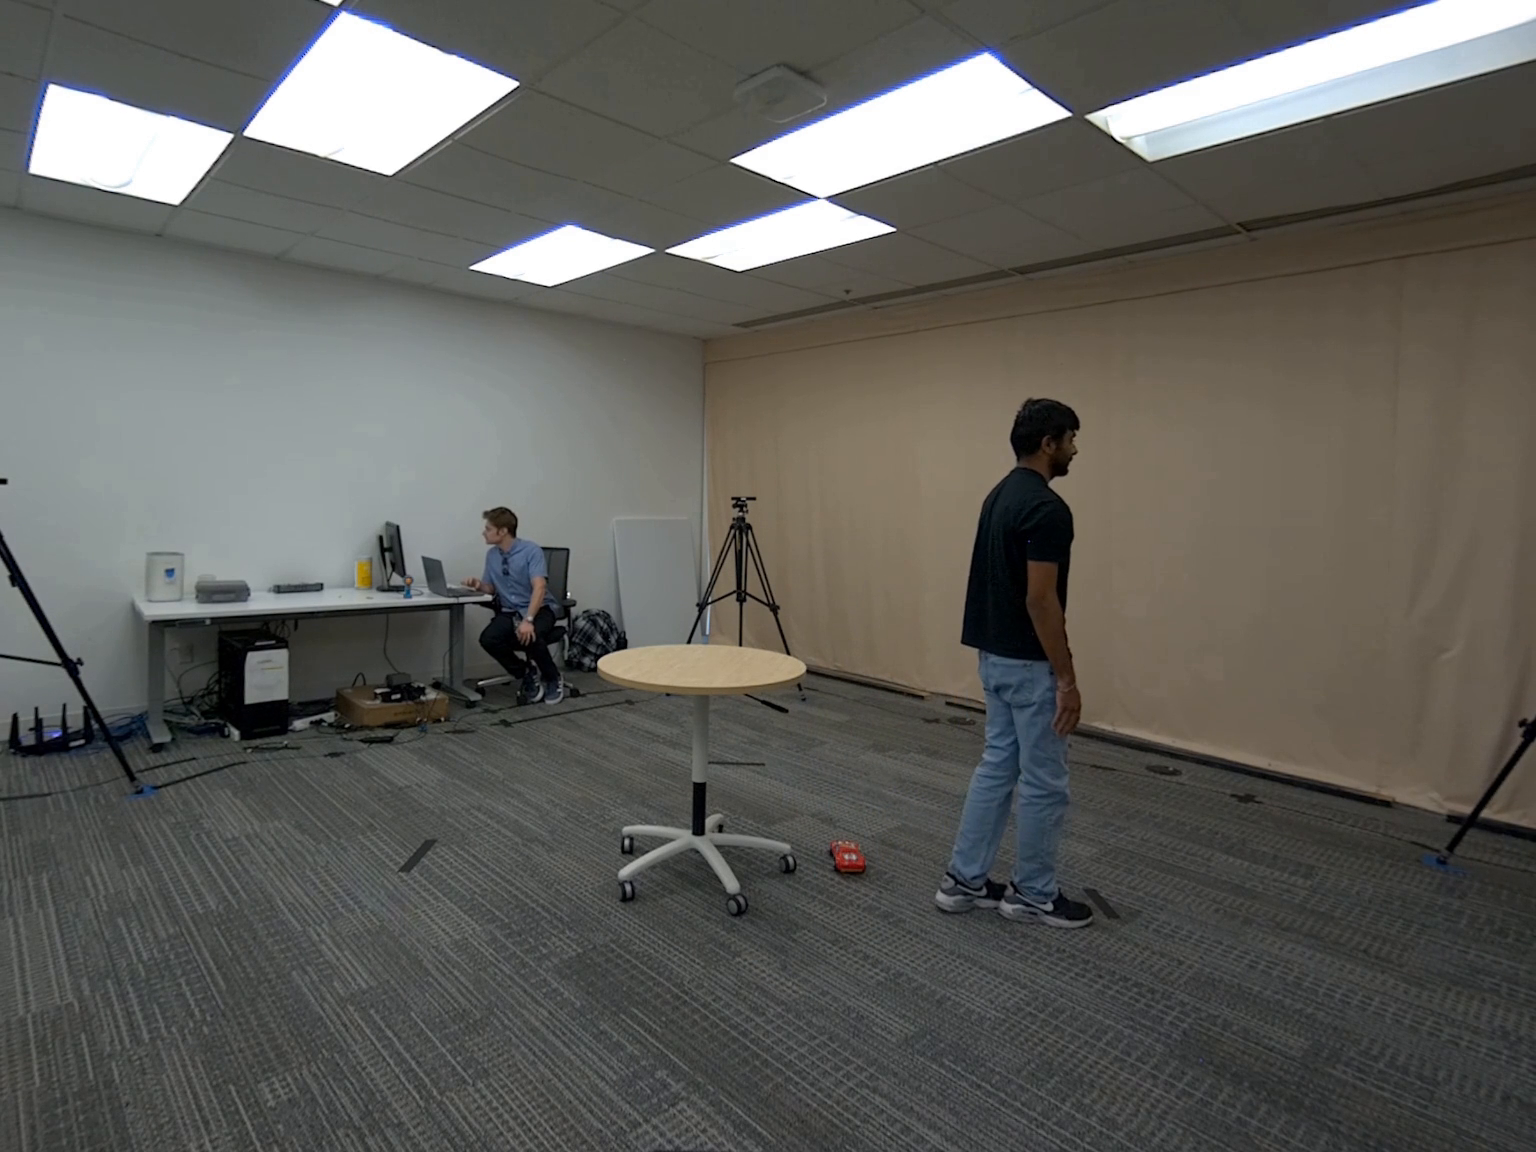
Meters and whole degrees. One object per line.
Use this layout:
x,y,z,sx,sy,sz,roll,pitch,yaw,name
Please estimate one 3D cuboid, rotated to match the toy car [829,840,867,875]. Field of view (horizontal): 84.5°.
0.302,1.070,3.220,0.130,0.083,0.253,0,-6,-2,toy car
